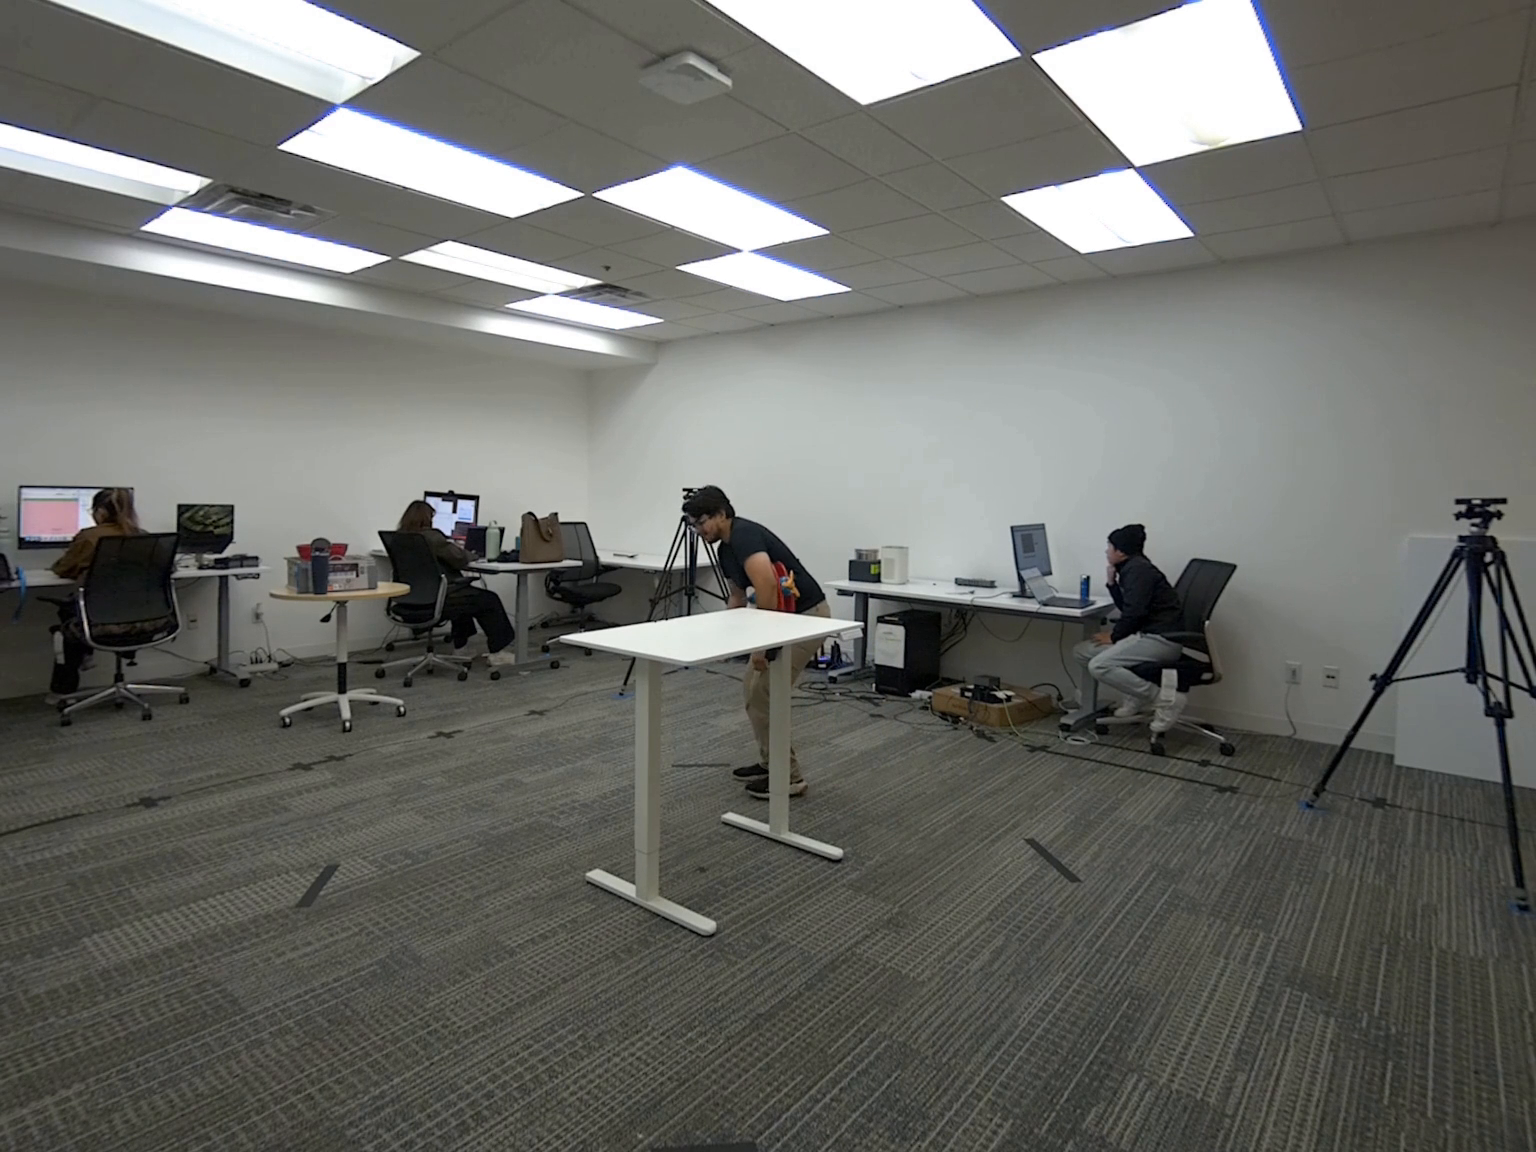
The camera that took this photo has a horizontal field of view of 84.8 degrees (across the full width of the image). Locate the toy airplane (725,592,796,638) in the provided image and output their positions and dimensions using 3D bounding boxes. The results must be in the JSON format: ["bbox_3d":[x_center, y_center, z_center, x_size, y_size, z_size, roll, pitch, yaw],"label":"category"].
[{"bbox_3d":[0.002,0.089,3.801,0.259,0.259,0.151,49,13,24],"label":"toy airplane"}]
